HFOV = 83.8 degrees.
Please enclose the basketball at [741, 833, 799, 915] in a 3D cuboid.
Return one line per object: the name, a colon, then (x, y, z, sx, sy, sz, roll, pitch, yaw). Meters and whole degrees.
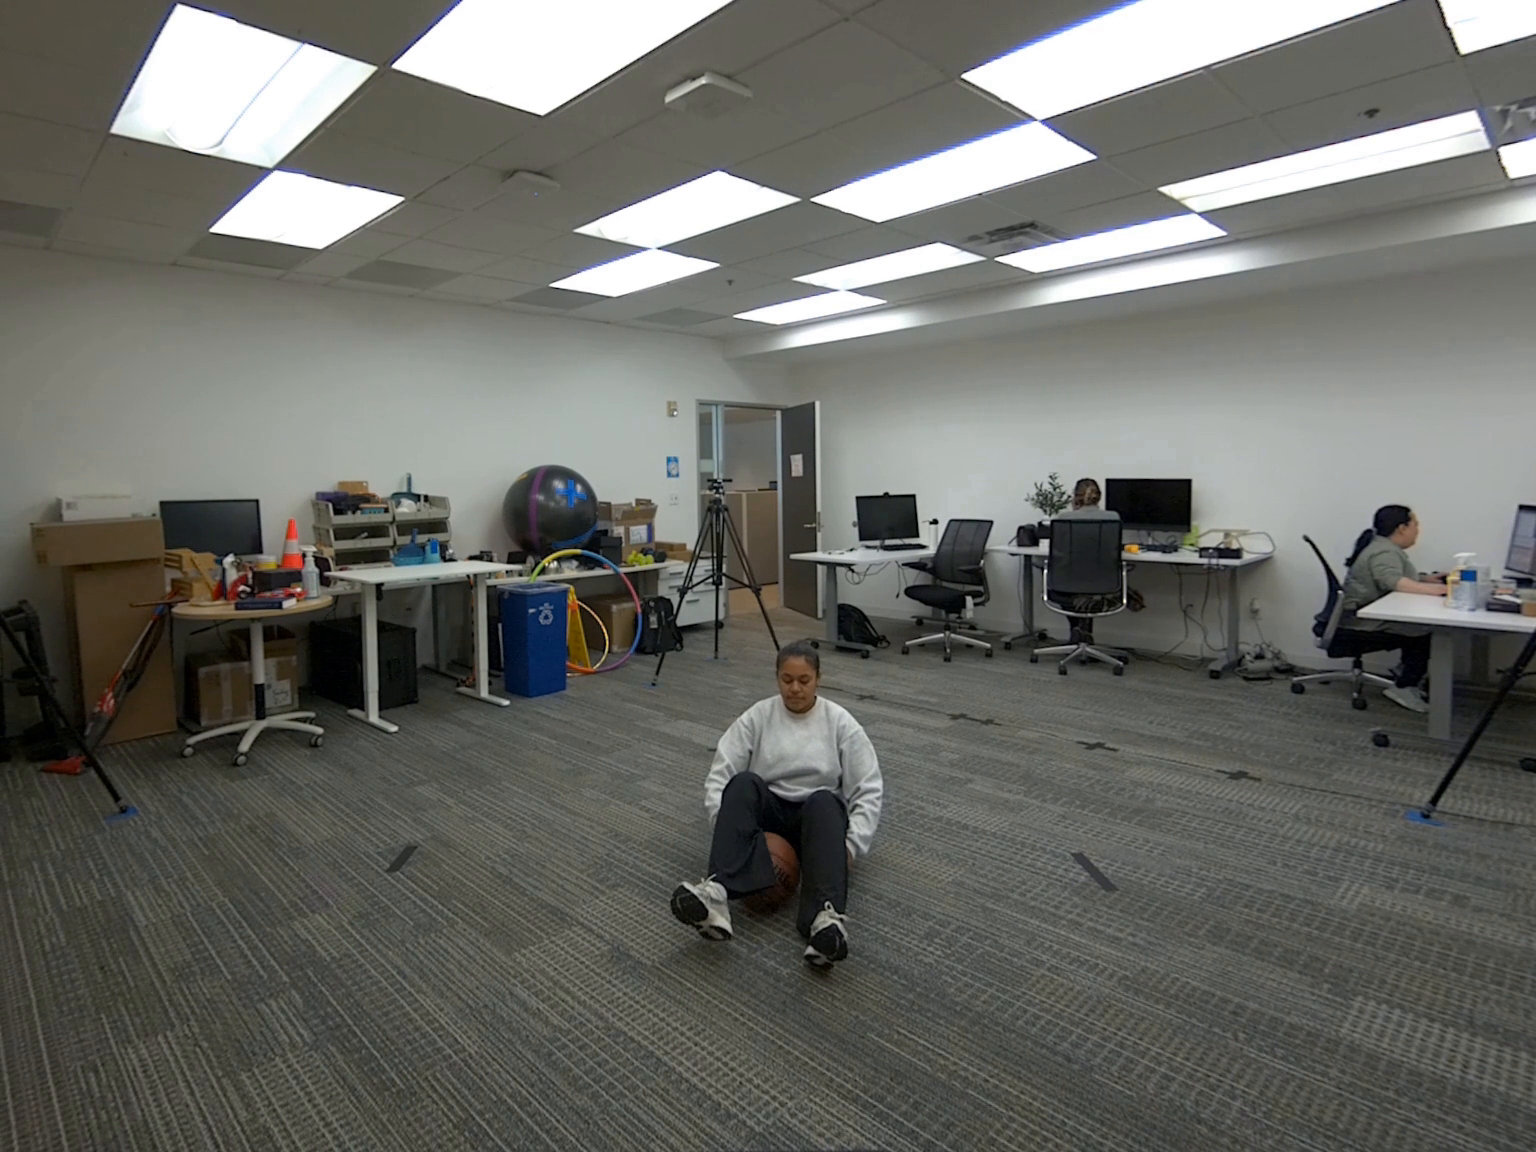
basketball: (-0.008, 0.970, 2.795, 0.236, 0.235, 0.237, -1, 5, -2)
